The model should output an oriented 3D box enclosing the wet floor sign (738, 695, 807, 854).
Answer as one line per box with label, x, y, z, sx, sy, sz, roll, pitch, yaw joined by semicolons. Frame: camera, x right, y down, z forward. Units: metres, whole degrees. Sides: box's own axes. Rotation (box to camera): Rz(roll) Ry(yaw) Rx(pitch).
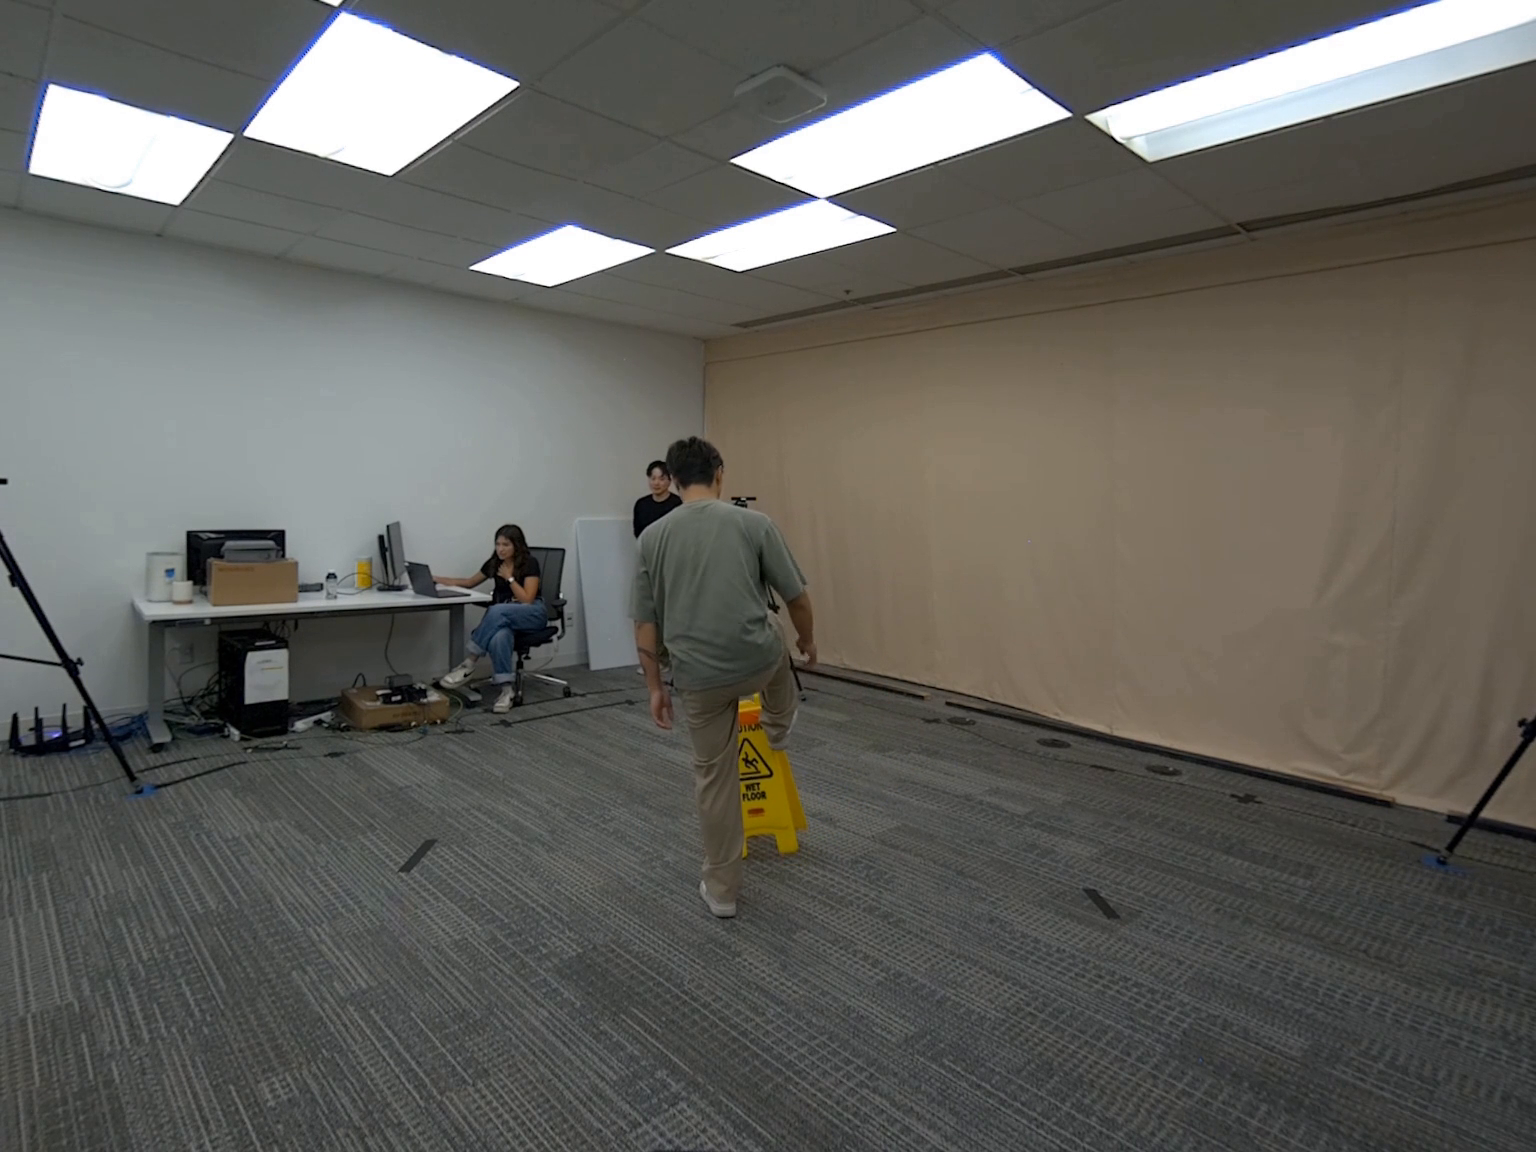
wet floor sign;-0.071;0.751;3.359;0.285;0.648;0.286;-11;-3;13
